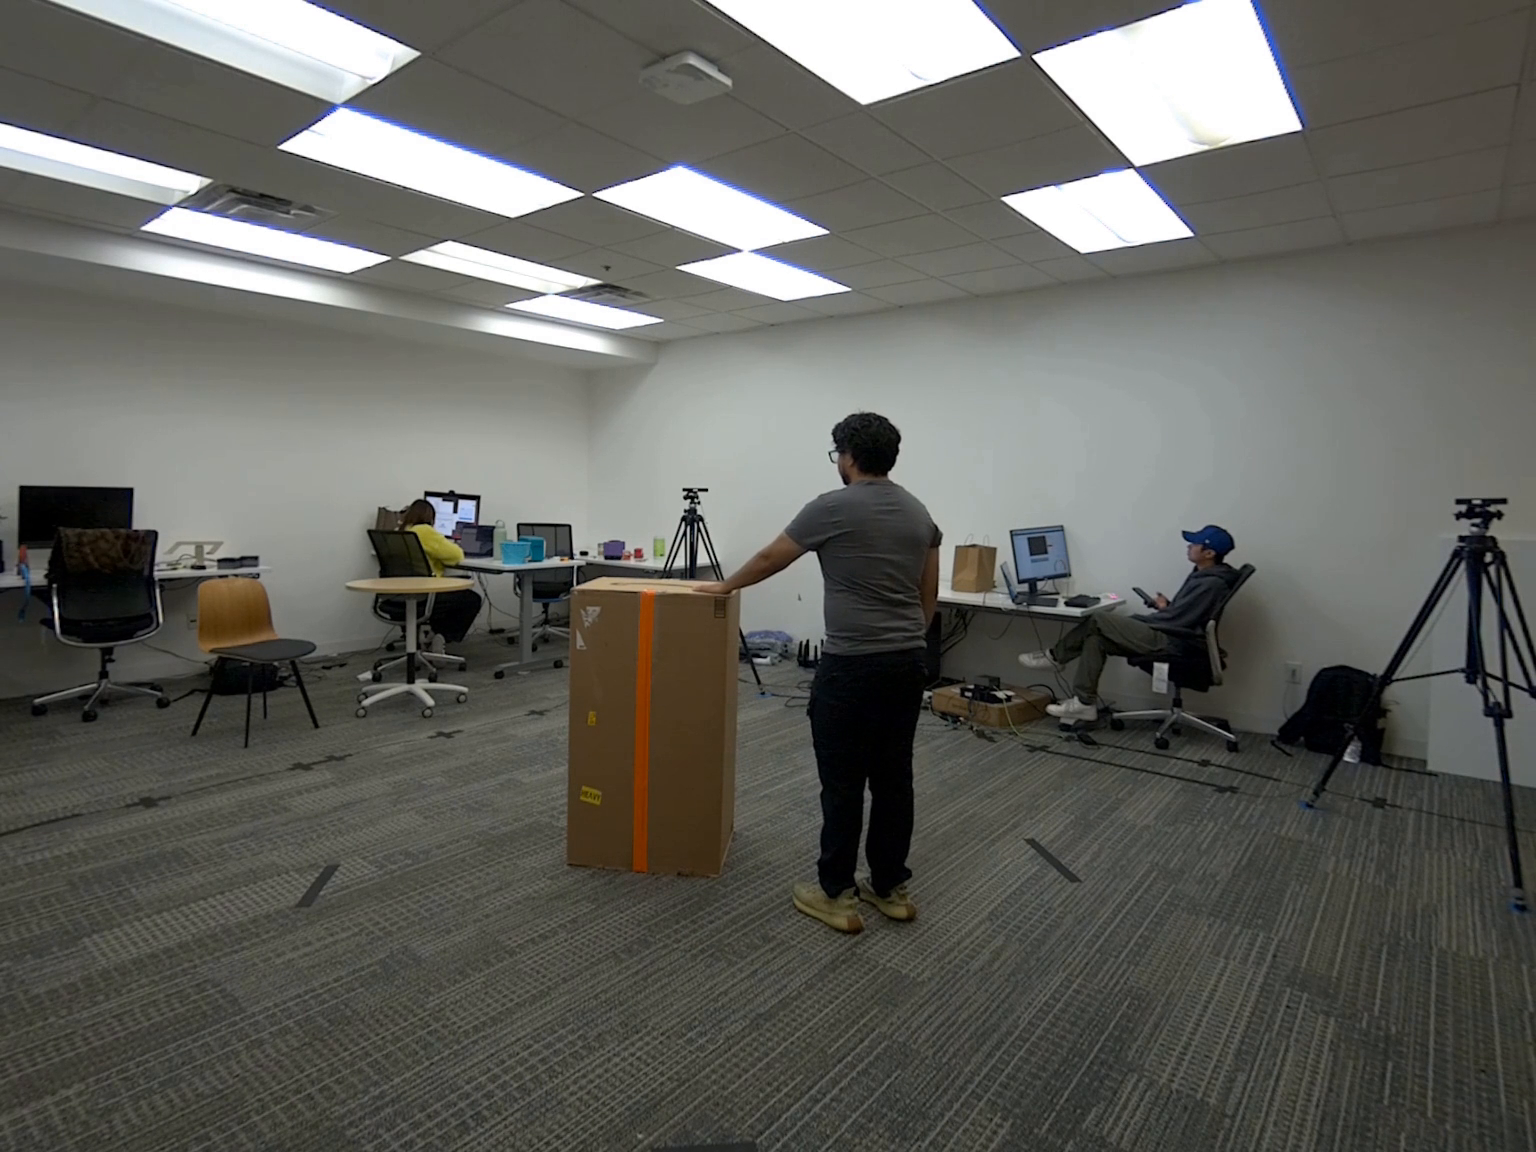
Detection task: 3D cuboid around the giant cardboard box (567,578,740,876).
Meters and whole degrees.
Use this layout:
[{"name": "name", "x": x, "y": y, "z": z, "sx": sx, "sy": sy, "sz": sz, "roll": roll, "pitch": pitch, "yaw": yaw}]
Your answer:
[{"name": "giant cardboard box", "x": -0.436, "y": 0.540, "z": 3.257, "sx": 0.583, "sy": 1.023, "sz": 0.424, "roll": 2, "pitch": 3, "yaw": 7}]
